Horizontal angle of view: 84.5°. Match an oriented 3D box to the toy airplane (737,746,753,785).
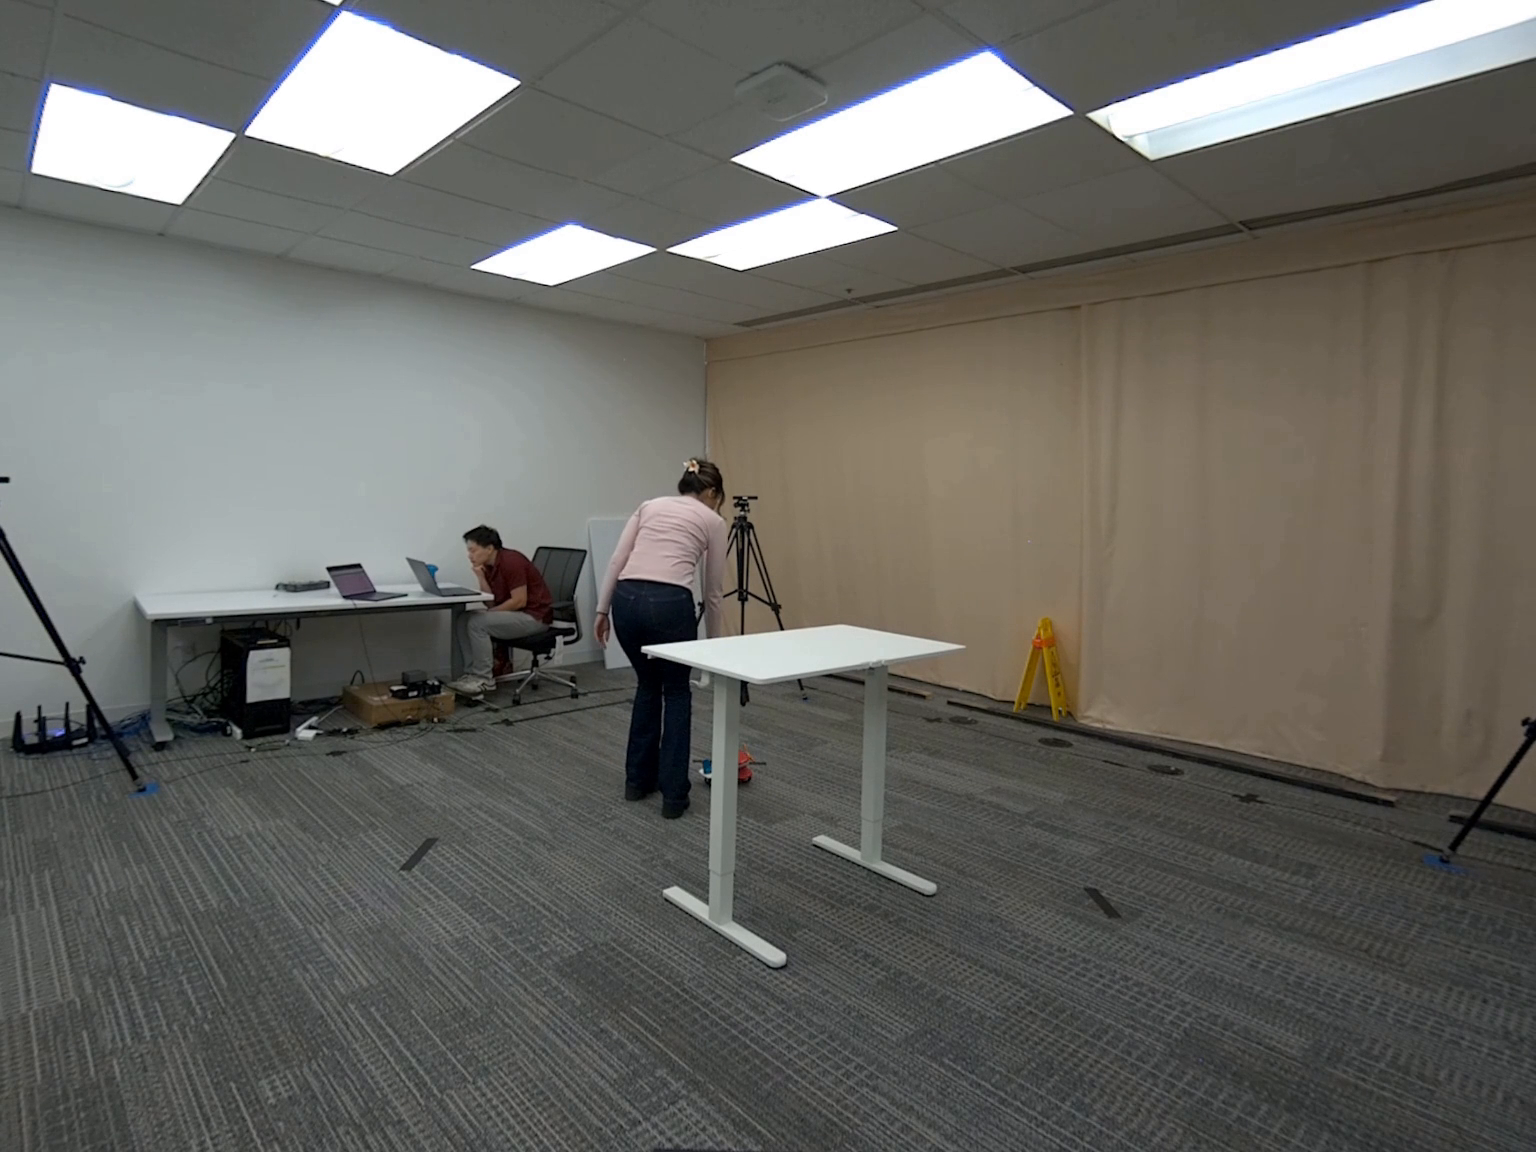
[{"bbox_3d":[-0.203,0.939,4.120,0.257,0.156,0.254,5,4,31],"label":"toy airplane"}]
